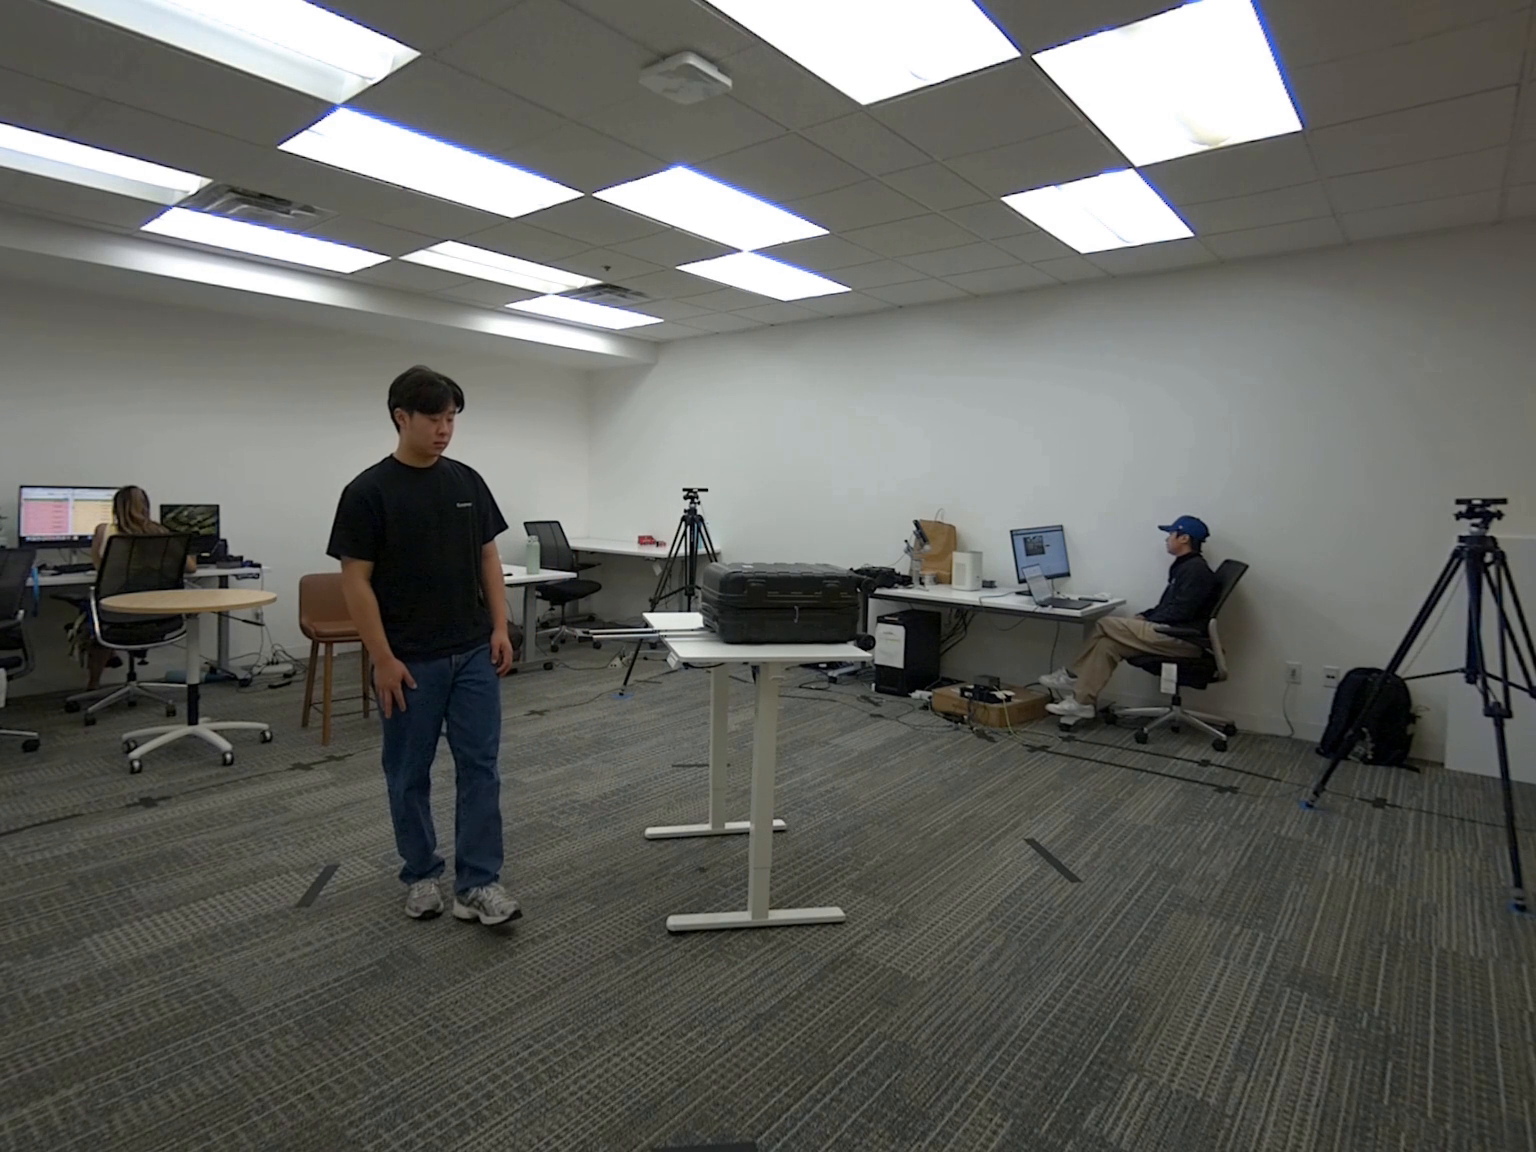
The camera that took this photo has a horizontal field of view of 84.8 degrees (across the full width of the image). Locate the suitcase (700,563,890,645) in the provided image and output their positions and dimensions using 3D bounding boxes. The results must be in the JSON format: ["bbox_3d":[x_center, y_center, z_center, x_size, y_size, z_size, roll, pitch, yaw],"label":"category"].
[{"bbox_3d":[-0.153,0.086,2.881,0.963,0.256,0.392,2,5,-15],"label":"suitcase"}]
